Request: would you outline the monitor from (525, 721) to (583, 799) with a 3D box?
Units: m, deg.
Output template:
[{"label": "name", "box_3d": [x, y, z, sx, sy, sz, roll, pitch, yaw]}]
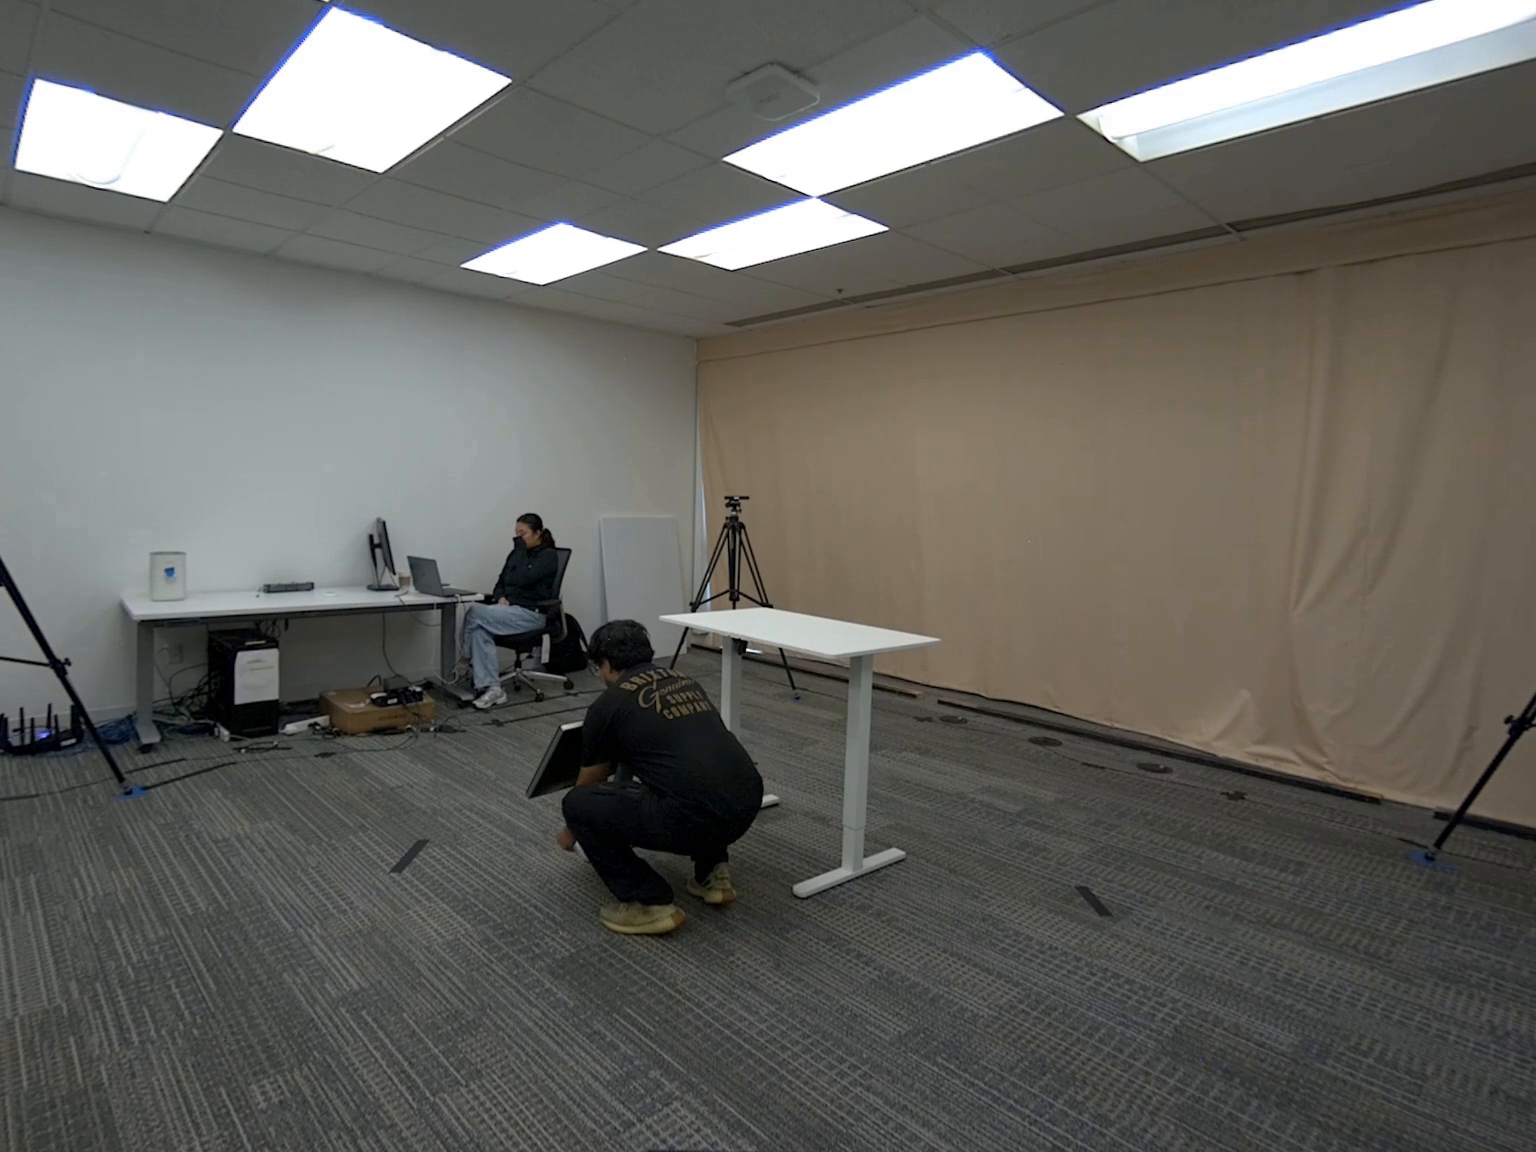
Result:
[{"label": "monitor", "box_3d": [-0.555, 0.725, 3.030, 0.553, 0.549, 0.216, -4, 35, -46]}]
